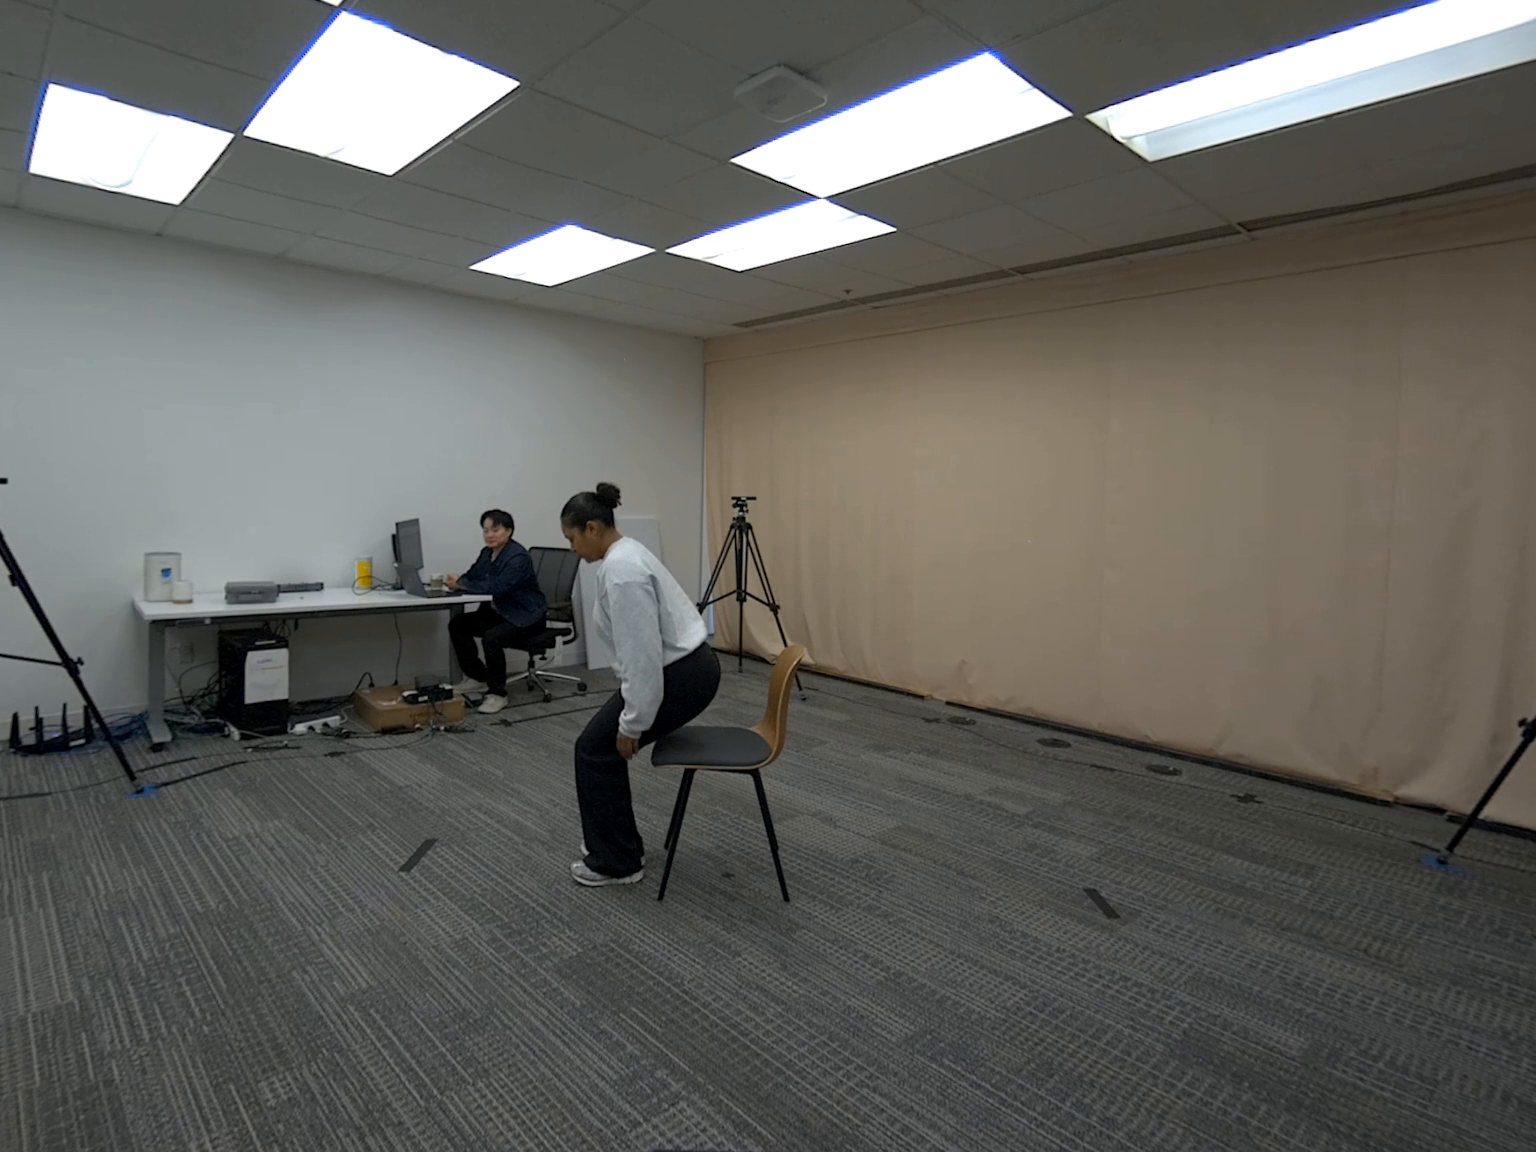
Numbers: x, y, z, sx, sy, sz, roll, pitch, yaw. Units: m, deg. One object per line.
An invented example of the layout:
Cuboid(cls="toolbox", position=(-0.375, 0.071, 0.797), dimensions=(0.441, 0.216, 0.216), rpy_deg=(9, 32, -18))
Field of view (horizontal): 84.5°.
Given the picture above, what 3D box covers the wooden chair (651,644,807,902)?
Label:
Cuboid(cls="wooden chair", position=(-0.170, 0.675, 3.091), dimensions=(0.522, 0.875, 0.480), rpy_deg=(5, 3, -4))
